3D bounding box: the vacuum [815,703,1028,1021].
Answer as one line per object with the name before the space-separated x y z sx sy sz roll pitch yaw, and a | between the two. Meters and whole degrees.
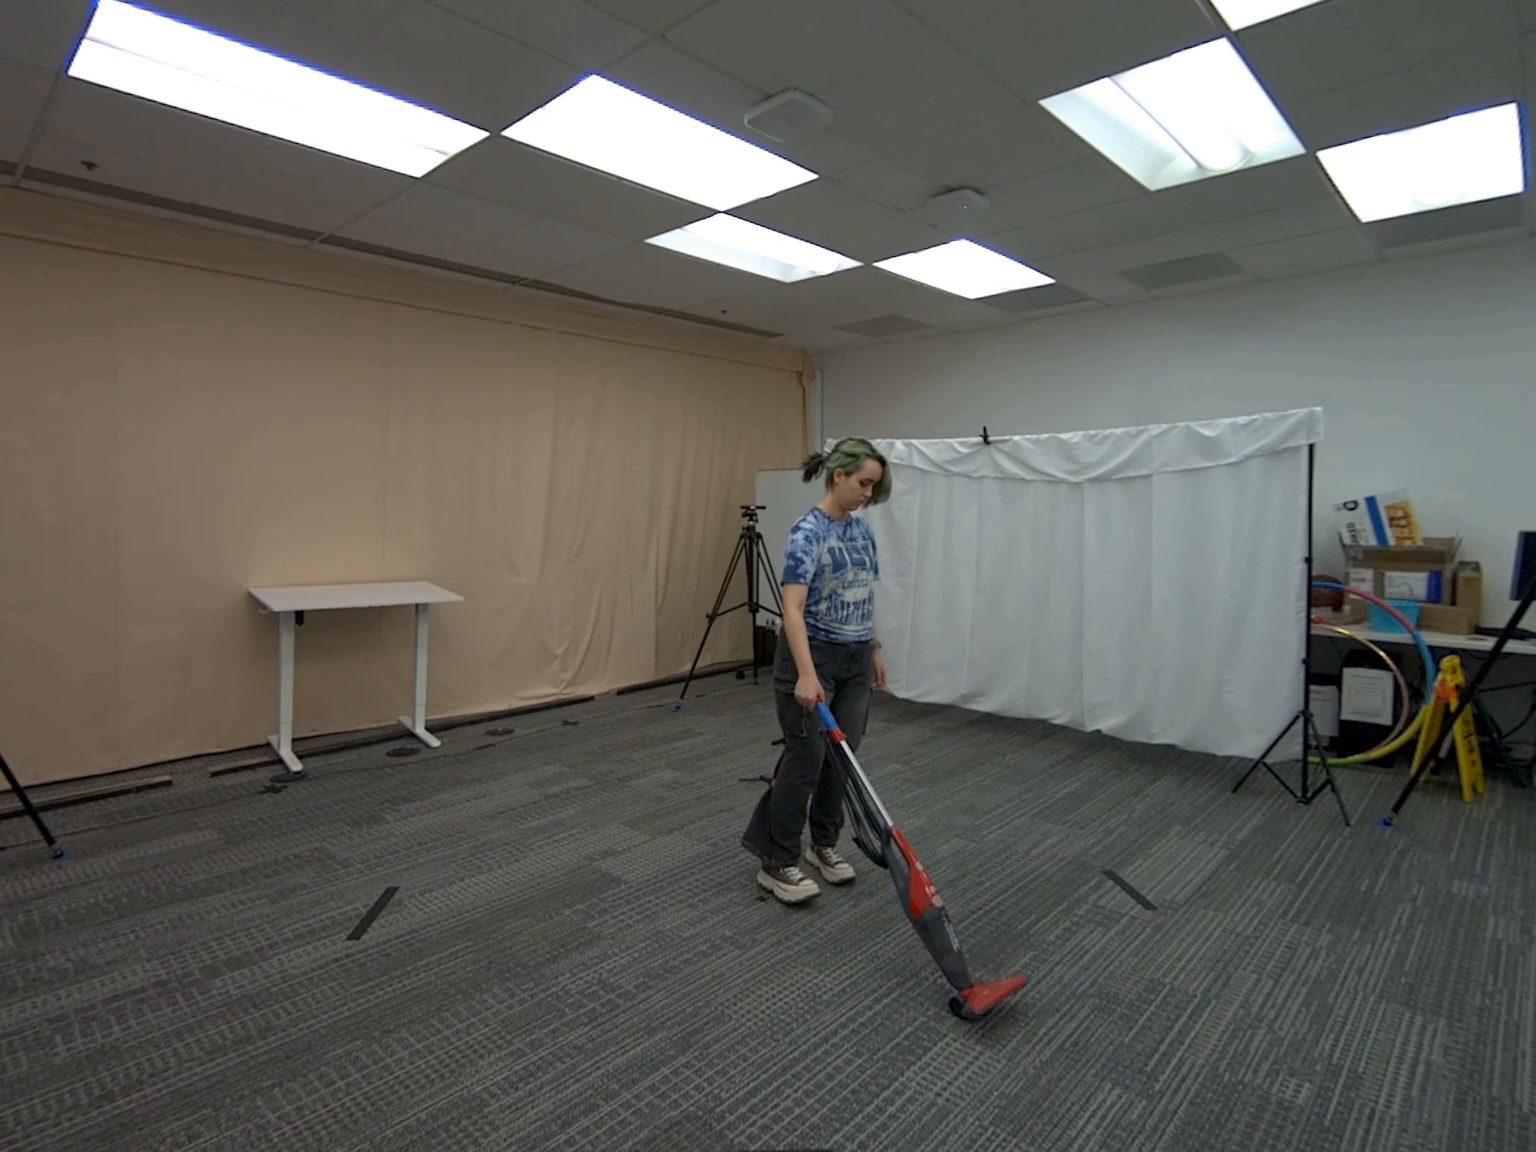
vacuum | 0.355 0.777 2.547 0.244 1.079 0.144 1 -43 -45
